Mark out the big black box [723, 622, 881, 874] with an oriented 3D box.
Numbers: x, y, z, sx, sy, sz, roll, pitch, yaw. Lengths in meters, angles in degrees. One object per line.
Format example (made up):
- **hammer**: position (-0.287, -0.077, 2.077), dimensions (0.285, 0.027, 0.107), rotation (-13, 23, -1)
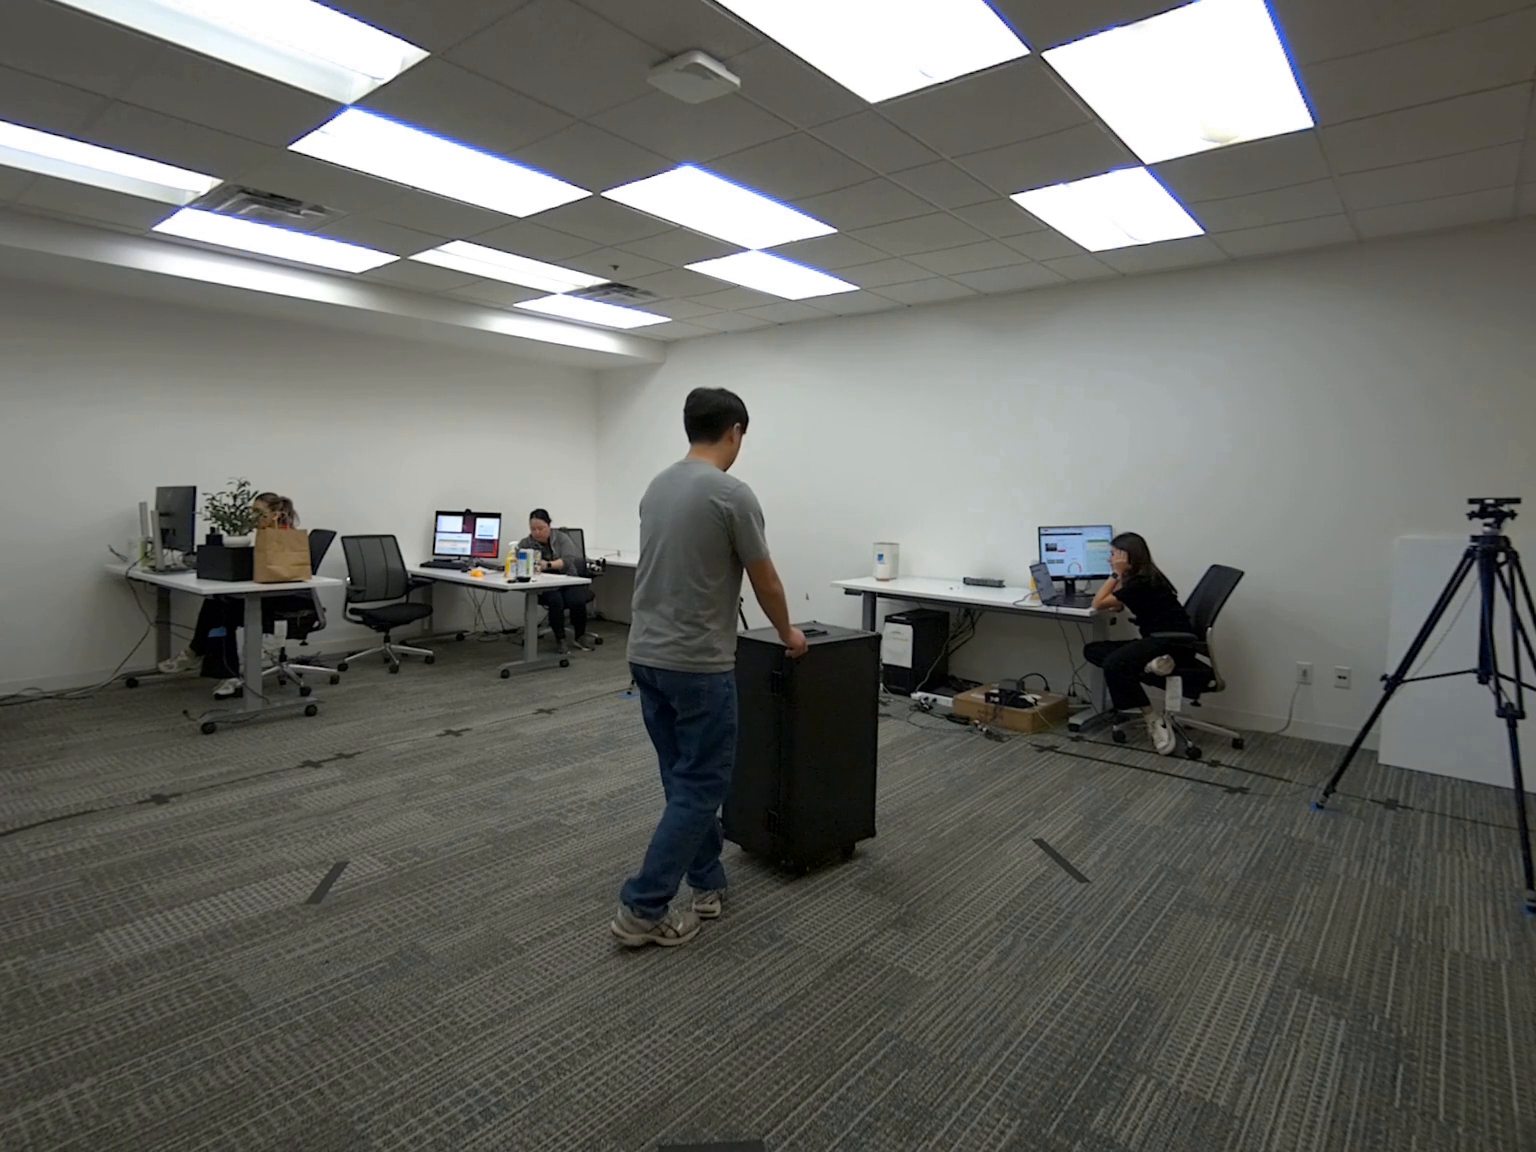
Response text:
- **big black box**: position (0.103, 0.636, 3.227), dimensions (0.505, 0.859, 0.410), rotation (-2, 4, -42)
